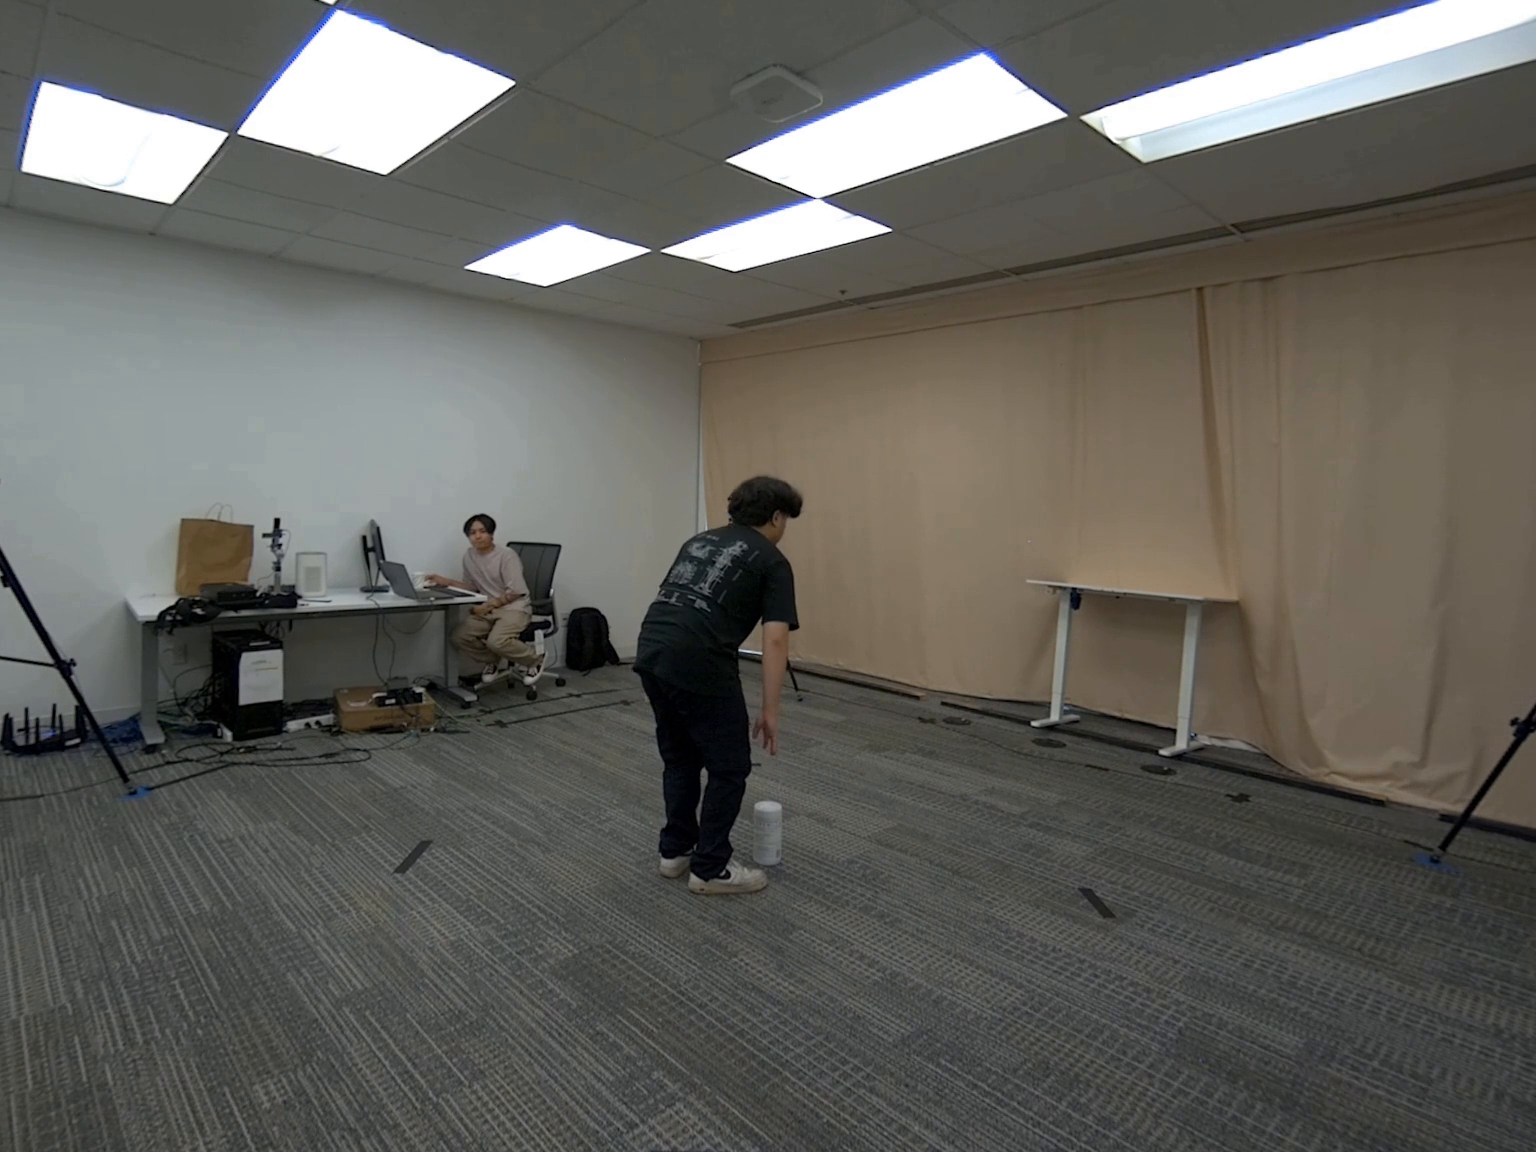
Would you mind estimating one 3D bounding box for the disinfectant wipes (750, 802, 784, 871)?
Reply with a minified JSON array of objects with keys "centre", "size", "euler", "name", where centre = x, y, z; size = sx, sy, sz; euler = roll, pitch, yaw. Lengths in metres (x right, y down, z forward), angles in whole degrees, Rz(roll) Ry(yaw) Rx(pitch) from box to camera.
[{"centre":[-0.007,0.996,3.247],"size":[0.118,0.217,0.118],"euler":[1,2,-1],"name":"disinfectant wipes"}]
